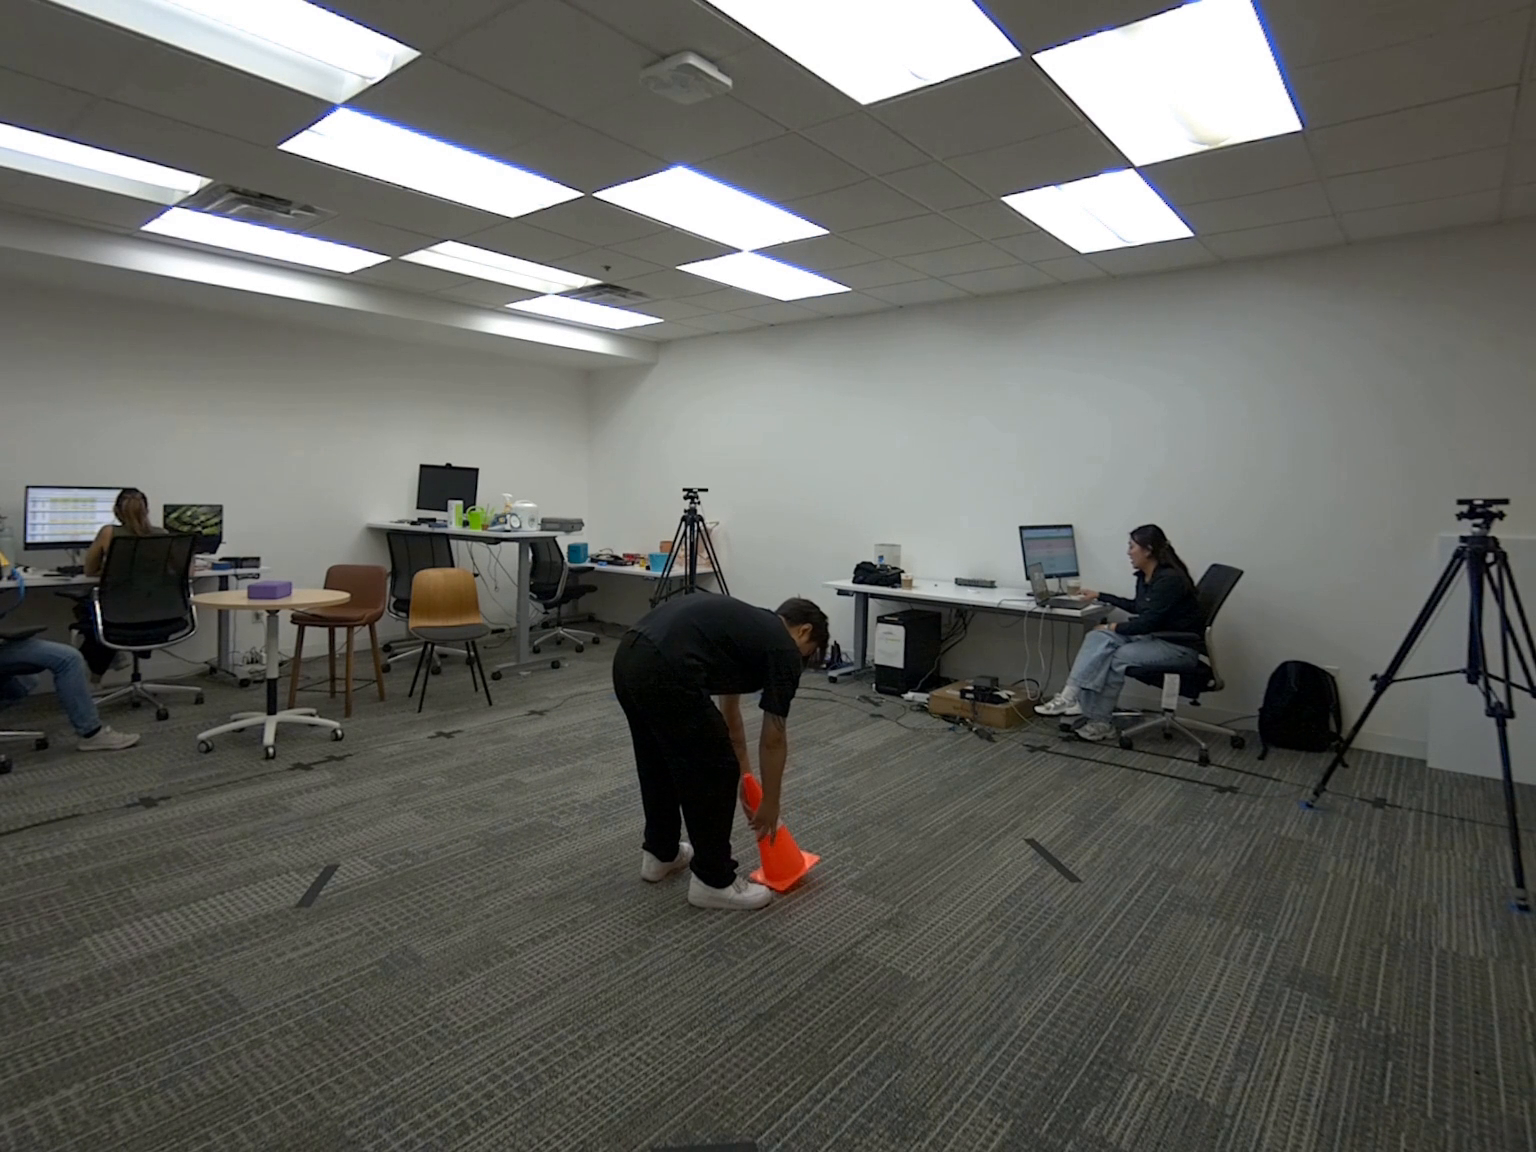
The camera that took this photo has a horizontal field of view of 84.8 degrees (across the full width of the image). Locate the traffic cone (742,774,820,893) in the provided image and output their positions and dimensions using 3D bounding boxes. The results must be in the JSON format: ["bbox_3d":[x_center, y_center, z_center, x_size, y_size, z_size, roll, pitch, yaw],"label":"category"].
[{"bbox_3d":[-0.012,0.880,3.014,0.210,0.379,0.200,-8,14,41],"label":"traffic cone"}]
